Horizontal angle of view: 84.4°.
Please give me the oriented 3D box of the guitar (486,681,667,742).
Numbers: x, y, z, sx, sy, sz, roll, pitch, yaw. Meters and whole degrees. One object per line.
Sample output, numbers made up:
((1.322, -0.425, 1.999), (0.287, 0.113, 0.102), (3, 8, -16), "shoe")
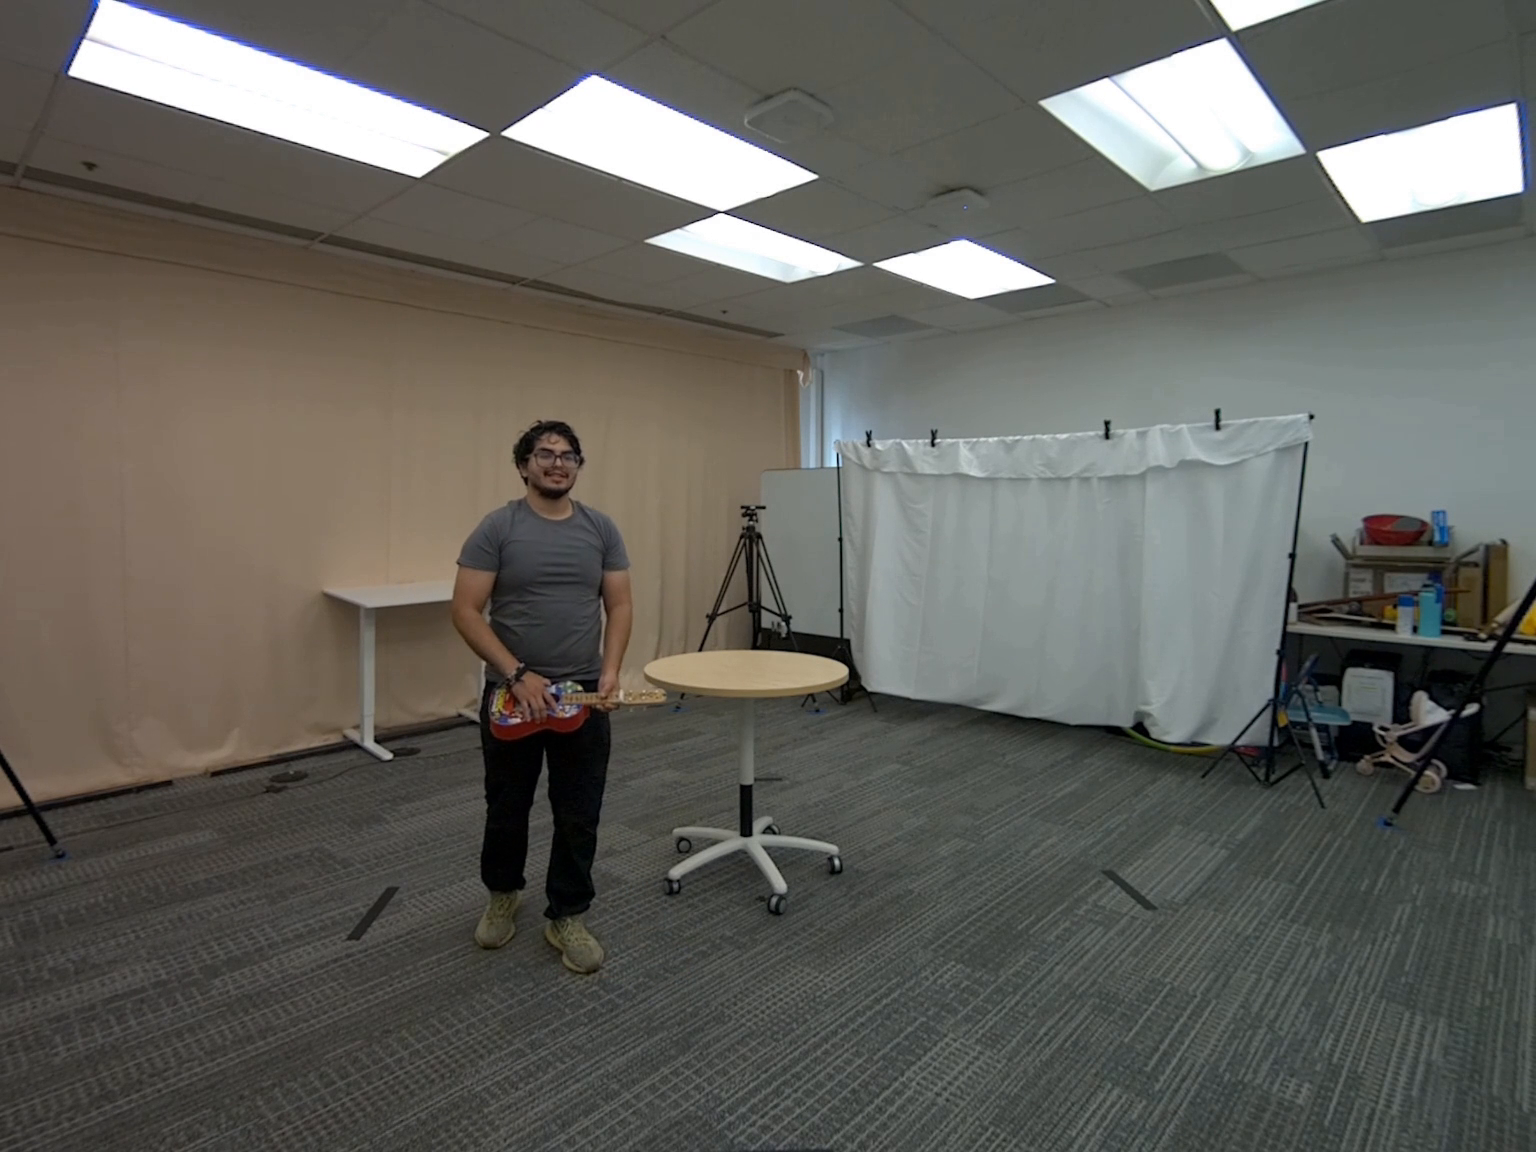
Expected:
((-0.527, 0.379, 2.390), (0.499, 0.069, 0.195), (5, 34, 3), "guitar")
